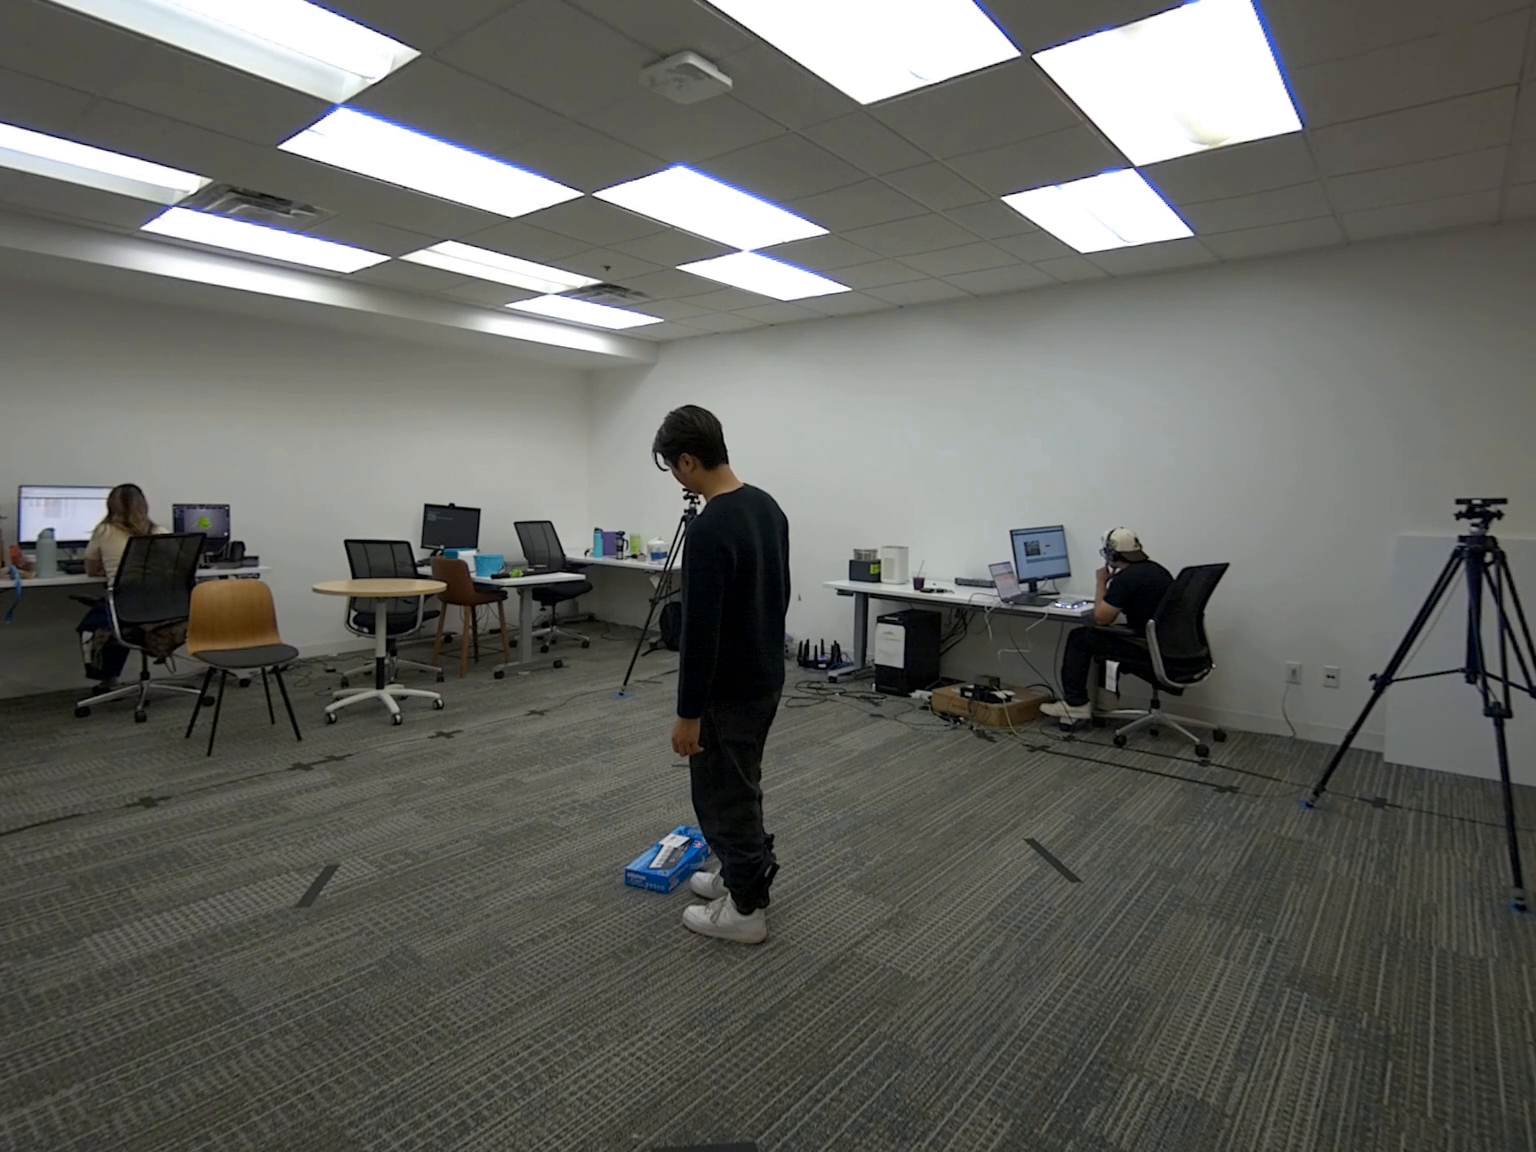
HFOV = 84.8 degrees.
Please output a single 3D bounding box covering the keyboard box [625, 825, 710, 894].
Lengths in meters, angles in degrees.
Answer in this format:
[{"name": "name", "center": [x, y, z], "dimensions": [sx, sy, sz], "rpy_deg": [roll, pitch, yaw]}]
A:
[{"name": "keyboard box", "center": [-0.358, 1.034, 3.138], "dimensions": [0.180, 0.059, 0.428], "rpy_deg": [3, 6, 21]}]
